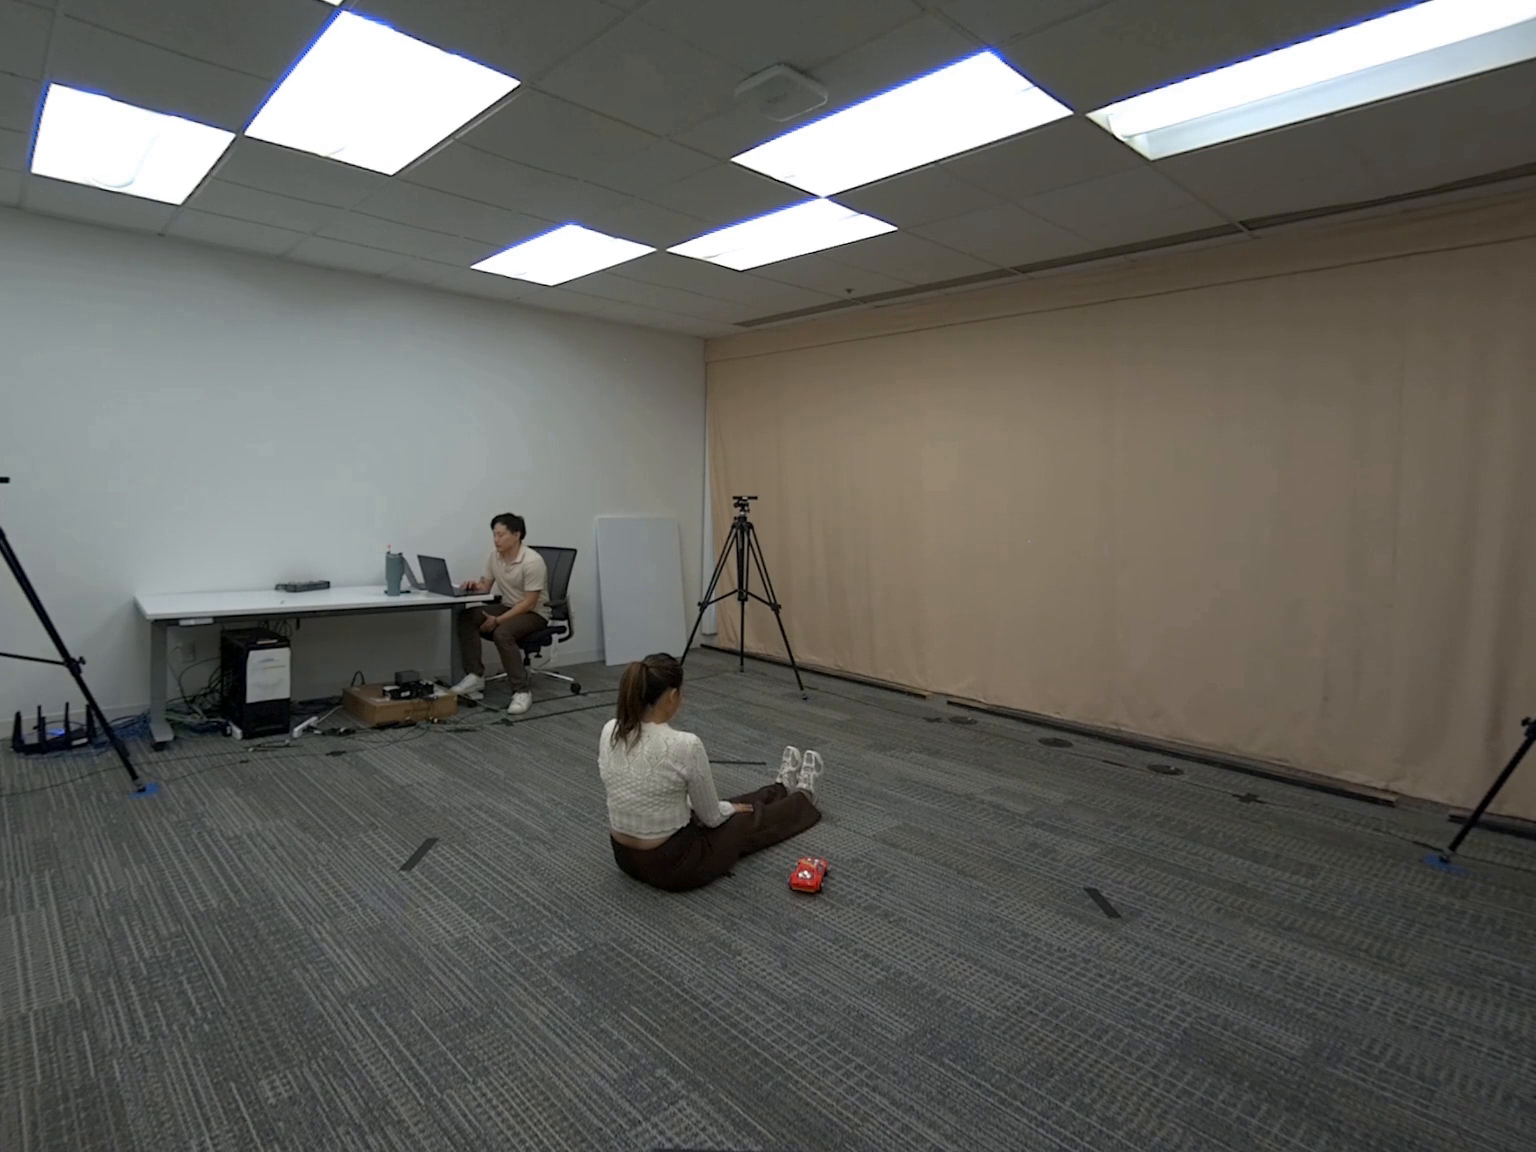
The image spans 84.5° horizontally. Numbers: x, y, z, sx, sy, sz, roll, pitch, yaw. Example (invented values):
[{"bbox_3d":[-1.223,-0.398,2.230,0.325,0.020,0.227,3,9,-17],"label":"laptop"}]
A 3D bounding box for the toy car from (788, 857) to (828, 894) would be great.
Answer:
[{"bbox_3d":[0.136,1.082,3.032,0.132,0.083,0.250,3,-6,13],"label":"toy car"}]
